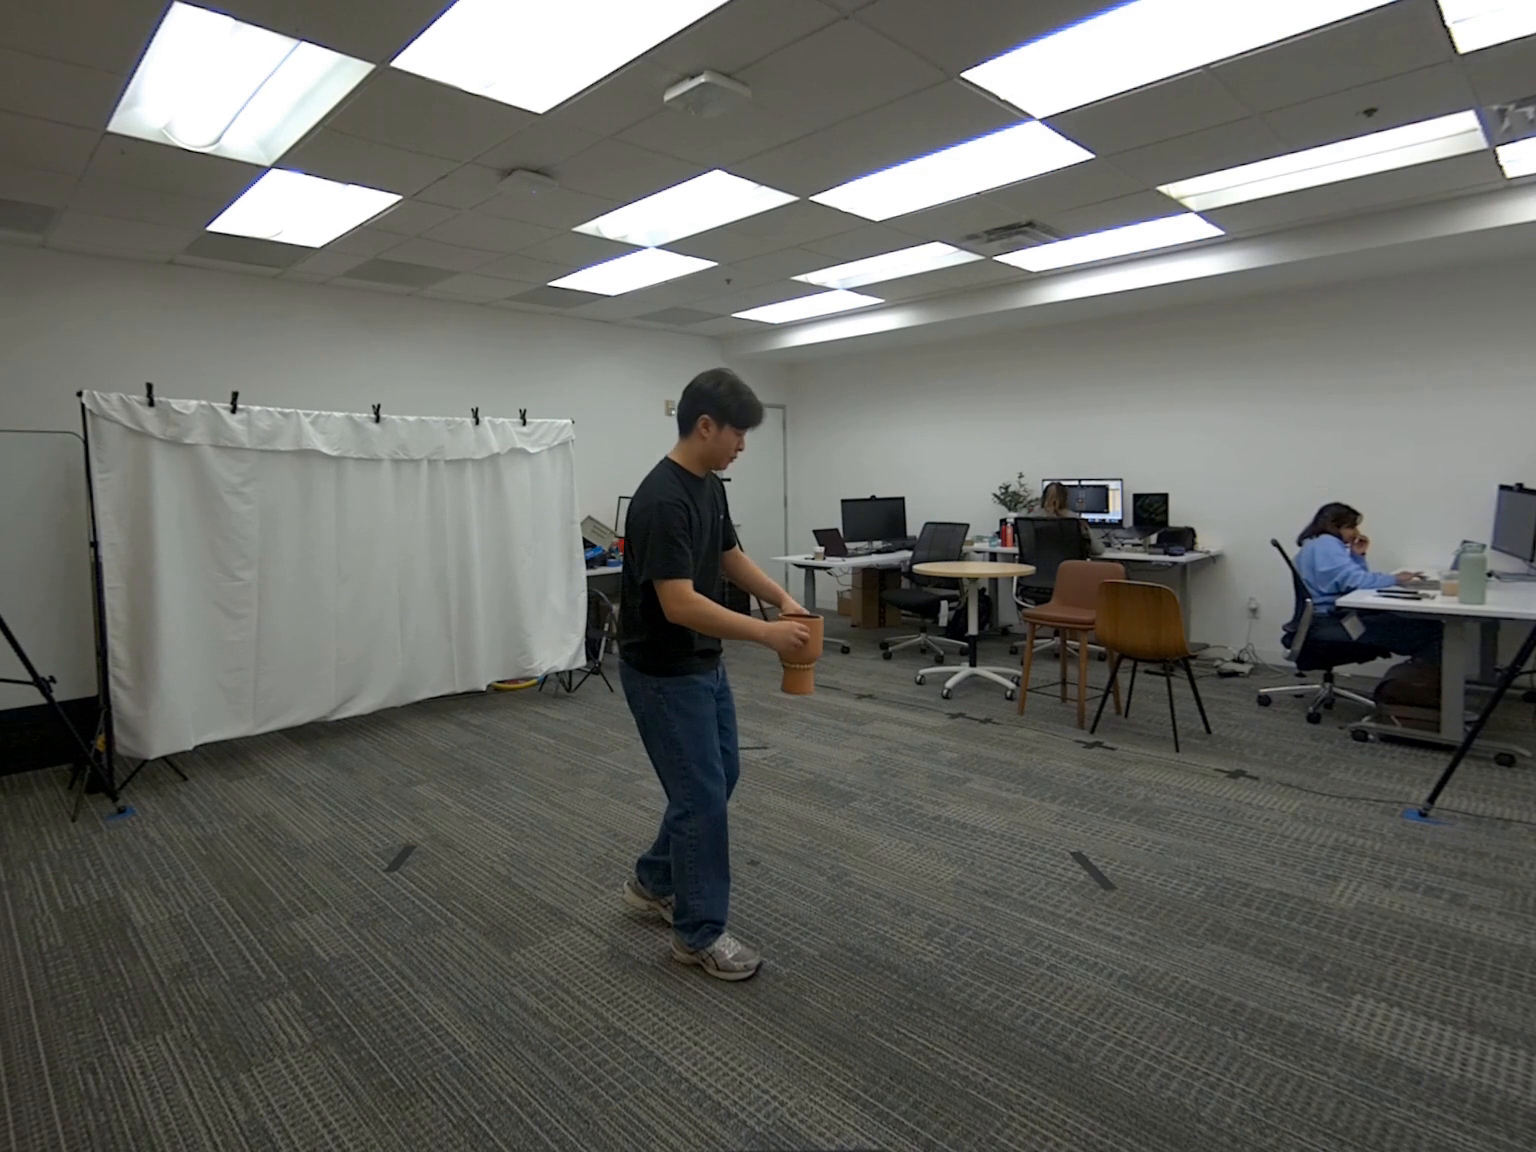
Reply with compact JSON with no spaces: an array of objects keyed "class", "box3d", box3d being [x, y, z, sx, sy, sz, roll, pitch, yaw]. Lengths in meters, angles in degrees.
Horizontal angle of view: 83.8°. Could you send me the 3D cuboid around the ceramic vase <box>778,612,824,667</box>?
[{"class":"ceramic vase","box3d":[0.081,0.226,2.488,0.138,0.219,0.155,5,4,29]}]
